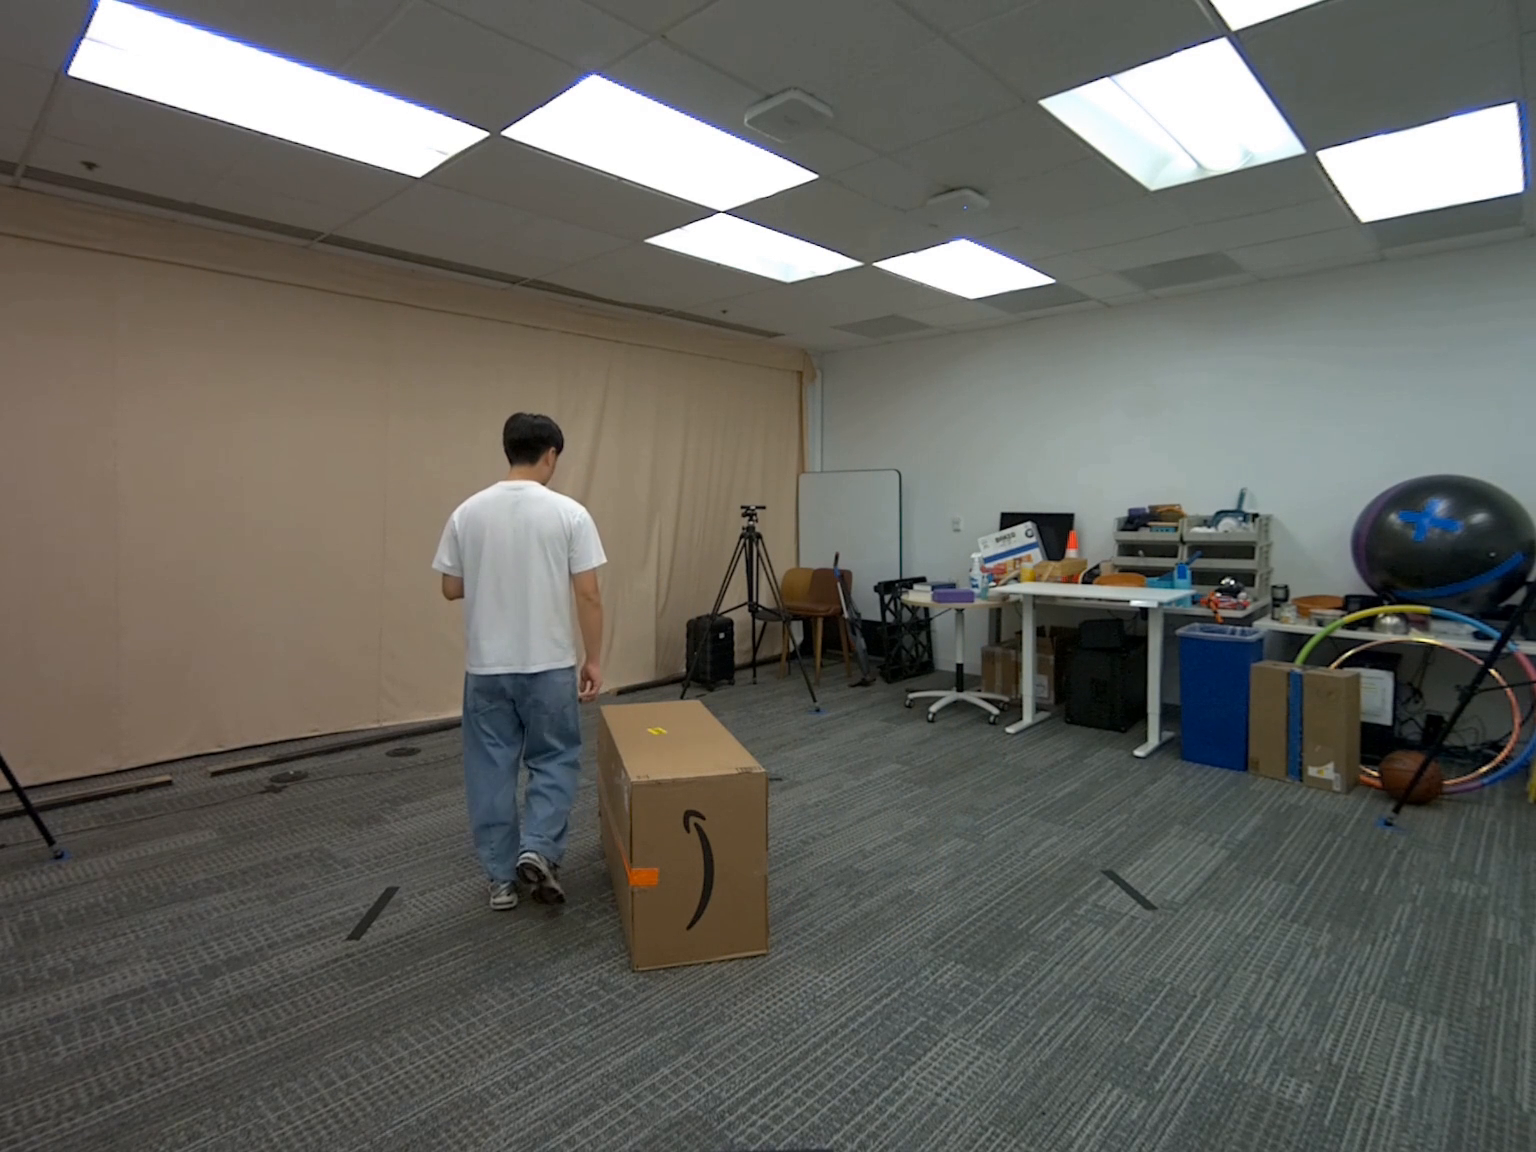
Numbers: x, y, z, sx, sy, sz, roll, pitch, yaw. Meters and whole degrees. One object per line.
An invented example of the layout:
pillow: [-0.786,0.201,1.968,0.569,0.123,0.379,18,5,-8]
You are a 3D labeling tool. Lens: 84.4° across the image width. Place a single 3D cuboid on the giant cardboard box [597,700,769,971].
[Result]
giant cardboard box: [-0.346,0.853,3.040,0.420,0.576,1.043,-1,4,-15]
